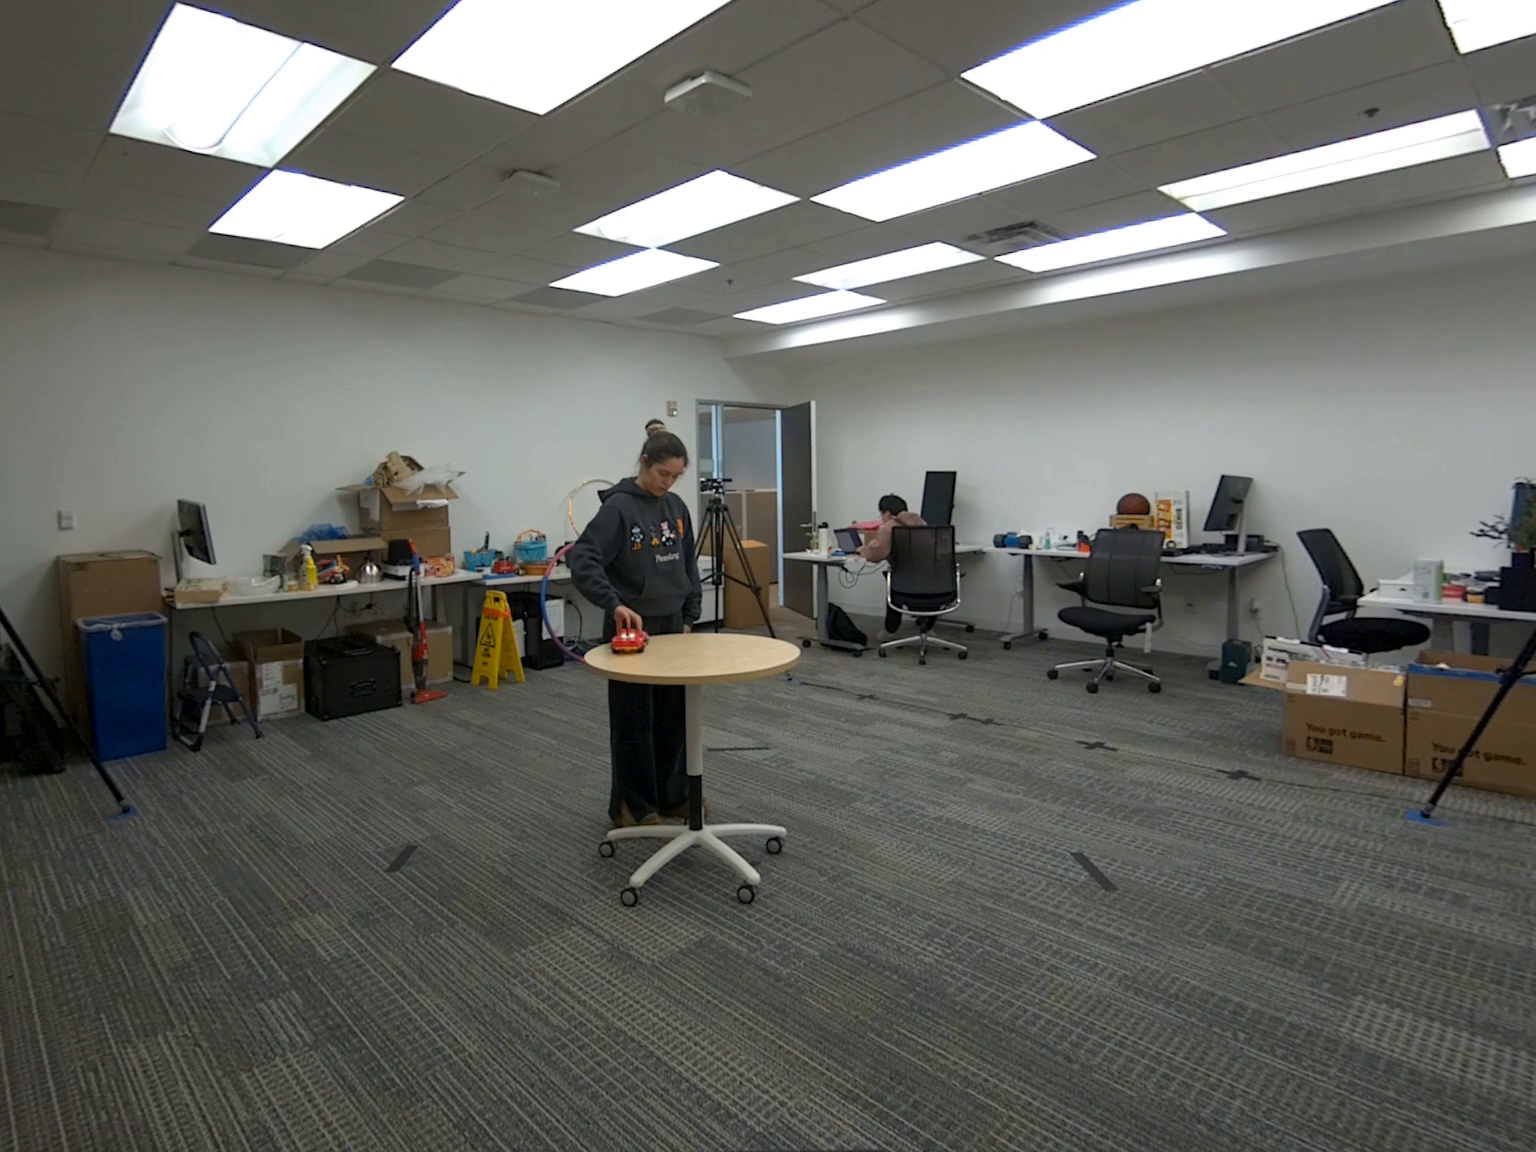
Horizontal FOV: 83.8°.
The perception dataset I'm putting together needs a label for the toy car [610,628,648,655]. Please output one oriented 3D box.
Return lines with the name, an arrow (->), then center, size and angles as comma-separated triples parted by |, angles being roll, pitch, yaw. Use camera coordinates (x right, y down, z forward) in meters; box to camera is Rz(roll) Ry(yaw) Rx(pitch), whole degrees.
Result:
toy car -> -0.504, 0.241, 3.105 | 0.130, 0.084, 0.253 | -1, -5, -1
